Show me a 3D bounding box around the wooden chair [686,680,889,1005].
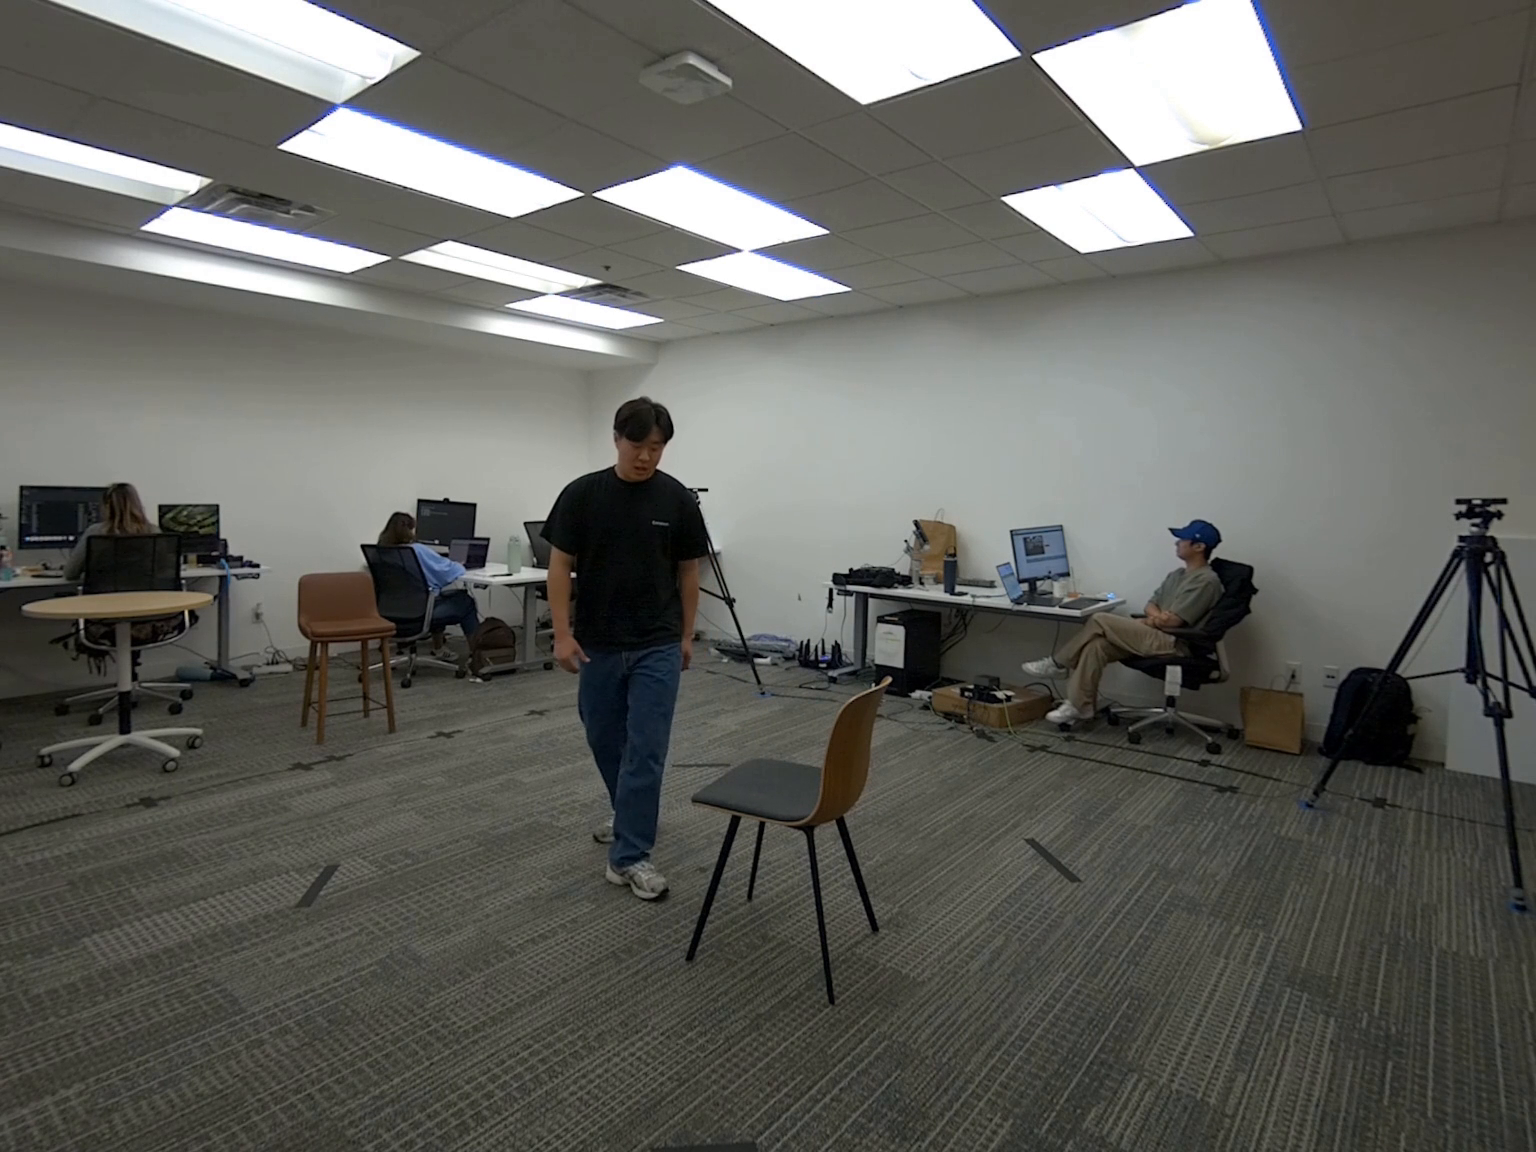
[{"bbox_3d":[0.052,0.698,2.577,0.537,0.873,0.467,8,6,24],"label":"wooden chair"}]
